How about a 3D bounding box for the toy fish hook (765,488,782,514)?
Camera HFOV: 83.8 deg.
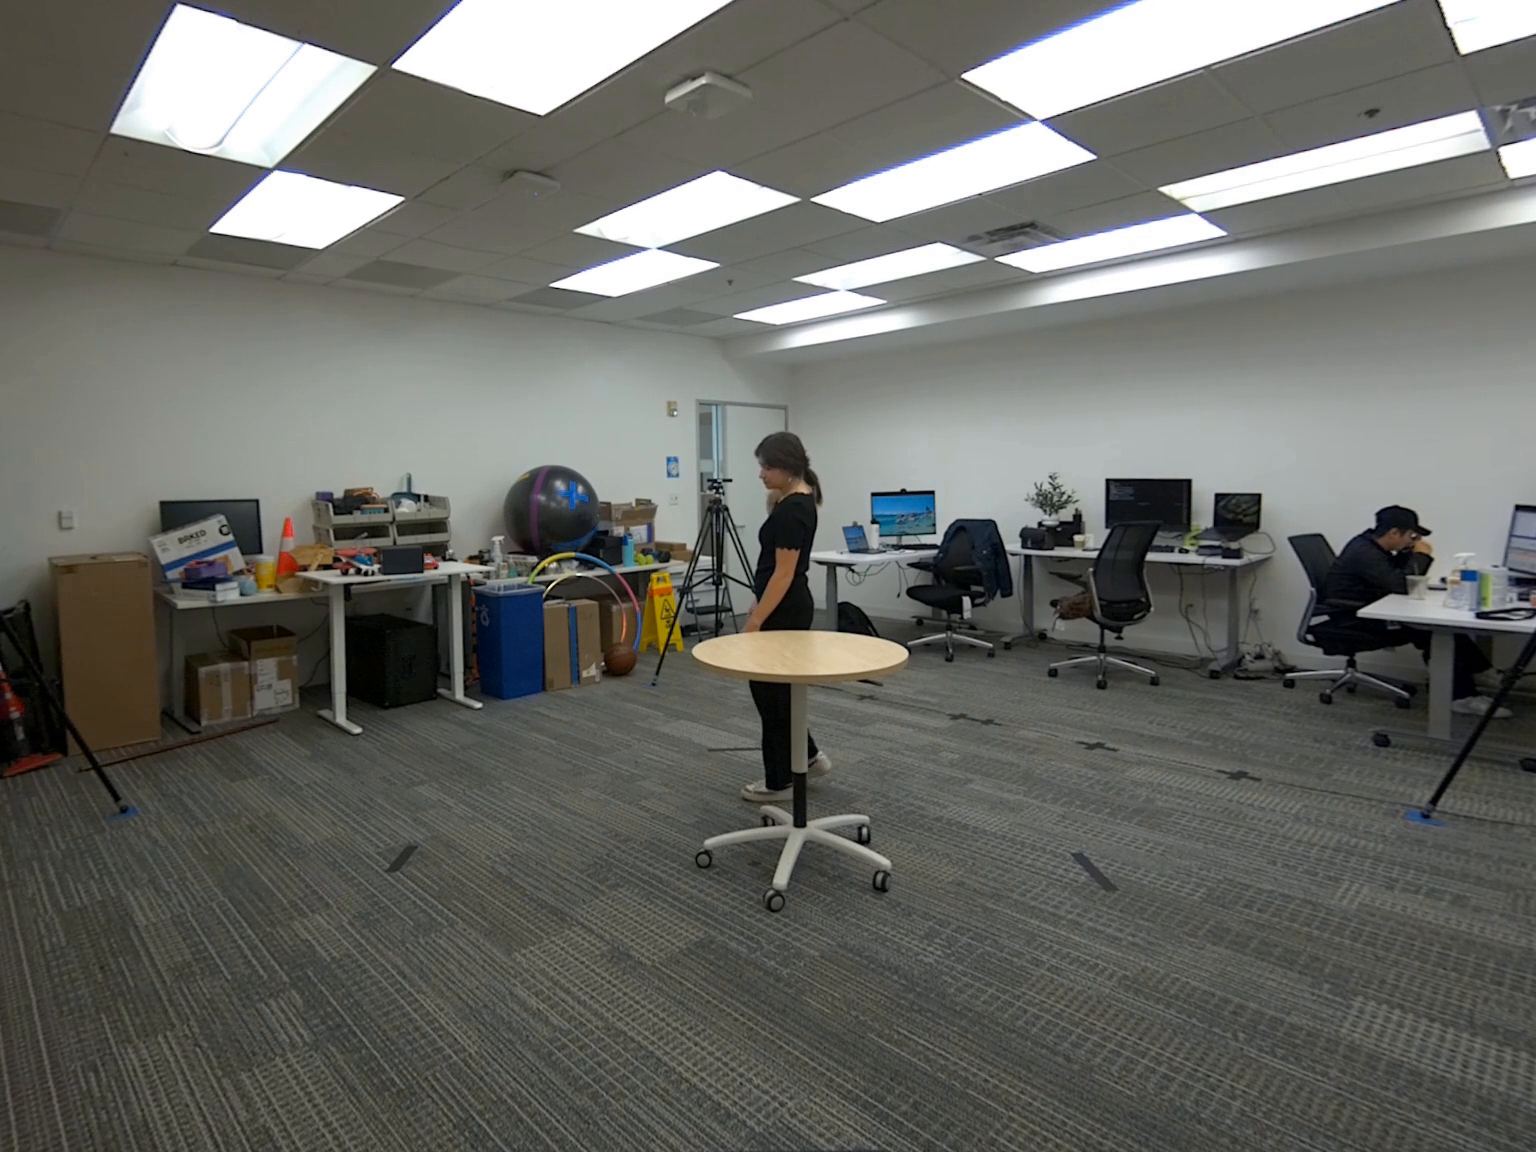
[{"bbox_3d":[0.122,-0.183,3.793,0.226,0.500,0.048,-2,12,6],"label":"toy fish hook"}]
